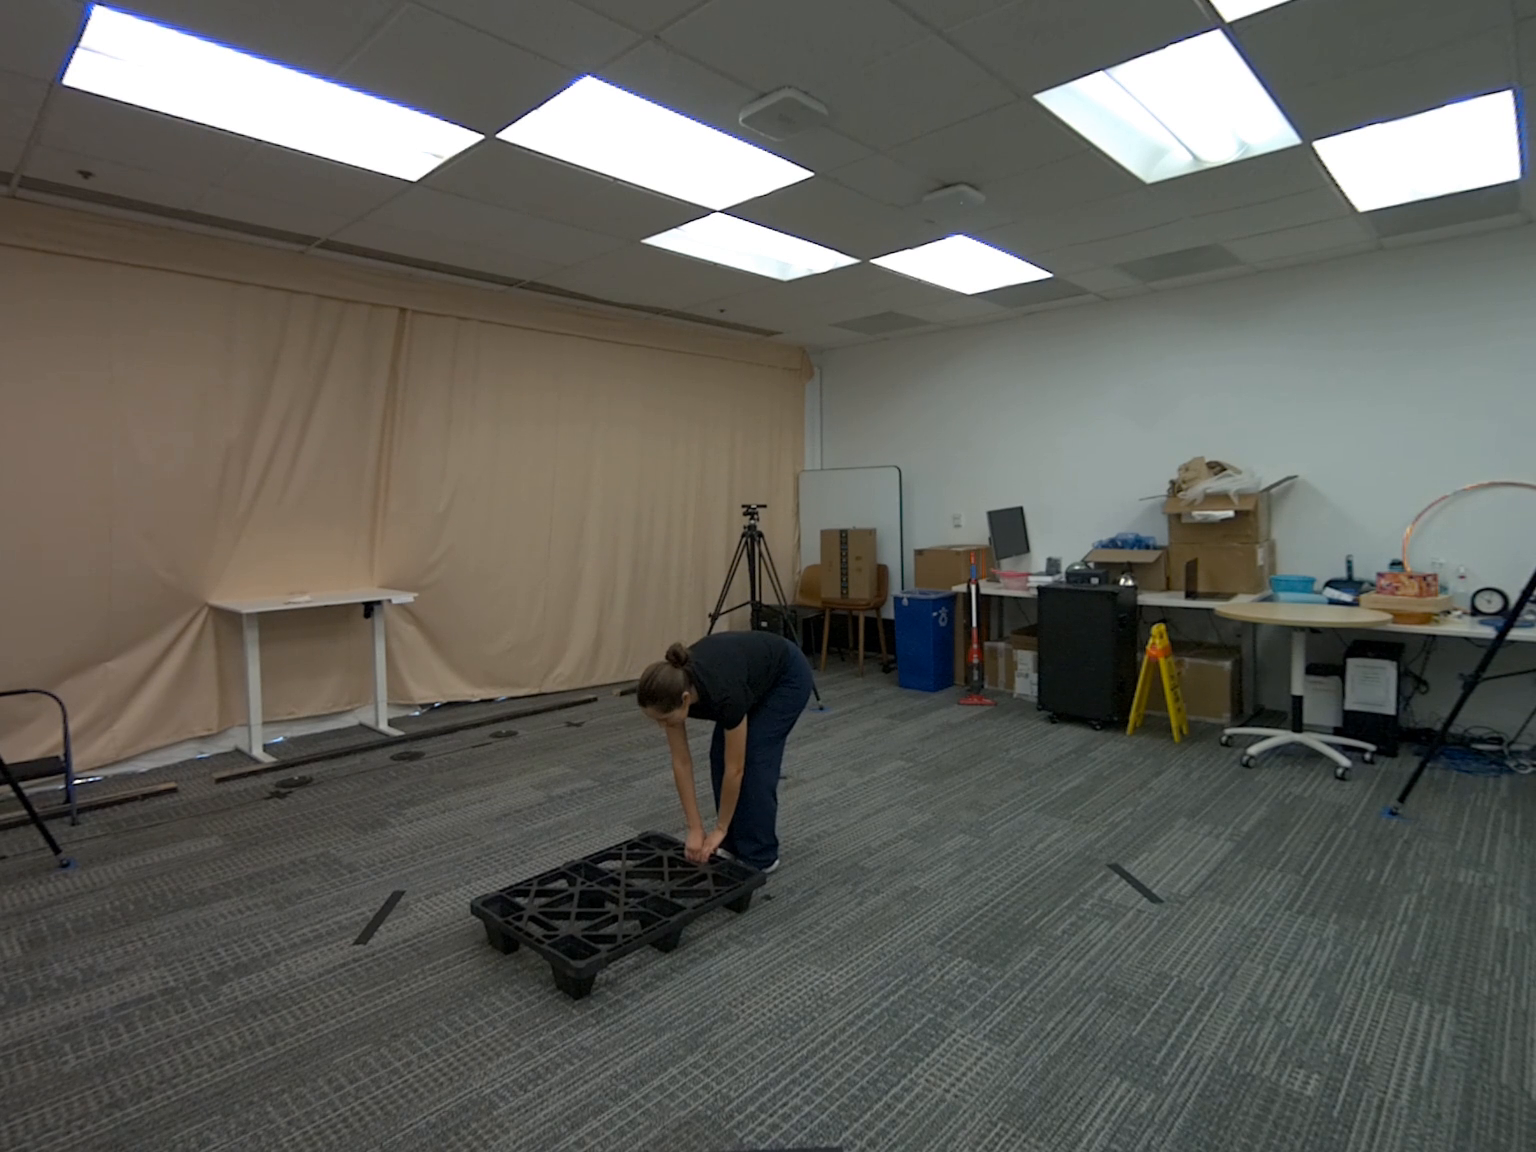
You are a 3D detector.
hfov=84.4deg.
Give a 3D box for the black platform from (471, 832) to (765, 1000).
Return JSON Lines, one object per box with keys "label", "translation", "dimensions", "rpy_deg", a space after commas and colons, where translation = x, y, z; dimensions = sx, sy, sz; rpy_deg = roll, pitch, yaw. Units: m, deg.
{"label": "black platform", "translation": [-0.466, 1.103, 2.798], "dimensions": [0.625, 0.143, 0.782], "rpy_deg": [4, 8, 42]}
